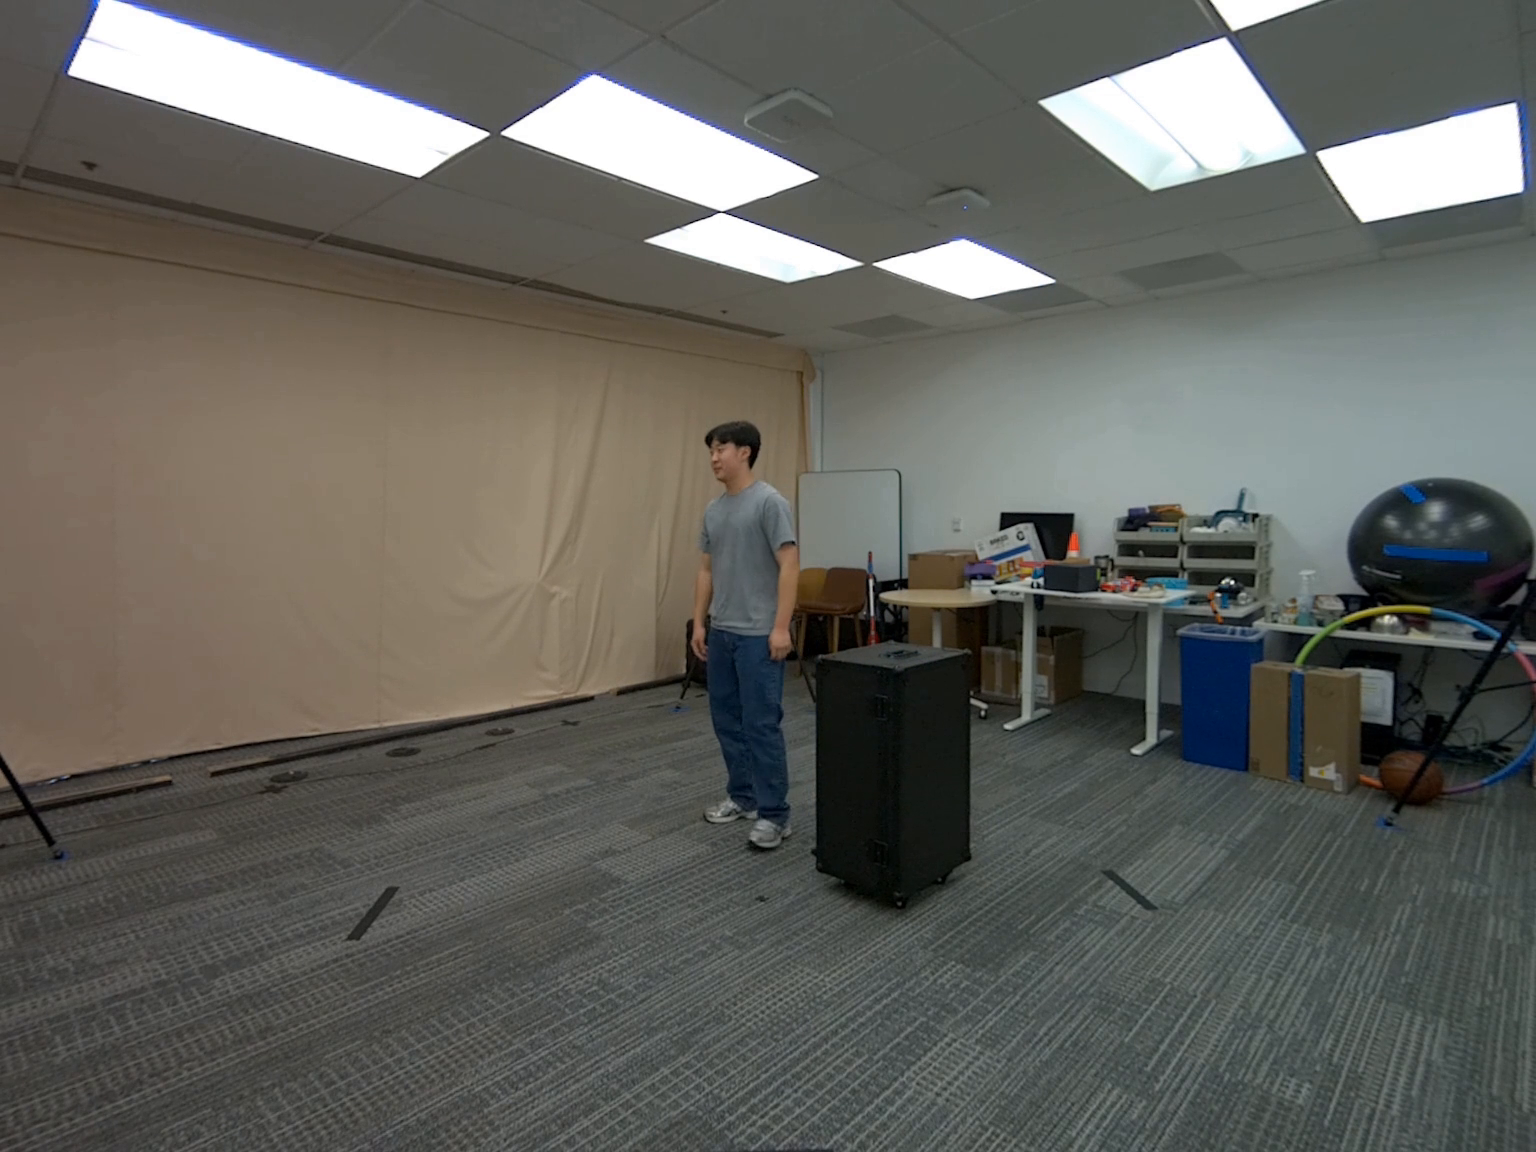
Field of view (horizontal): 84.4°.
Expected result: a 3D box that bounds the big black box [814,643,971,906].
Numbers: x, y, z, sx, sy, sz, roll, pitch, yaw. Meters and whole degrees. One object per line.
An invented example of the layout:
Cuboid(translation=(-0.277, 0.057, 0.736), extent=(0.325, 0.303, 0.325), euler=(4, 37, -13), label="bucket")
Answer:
Cuboid(translation=(0.459, 0.708, 3.085), extent=(0.409, 0.860, 0.505), euler=(1, 3, 43), label="big black box")
